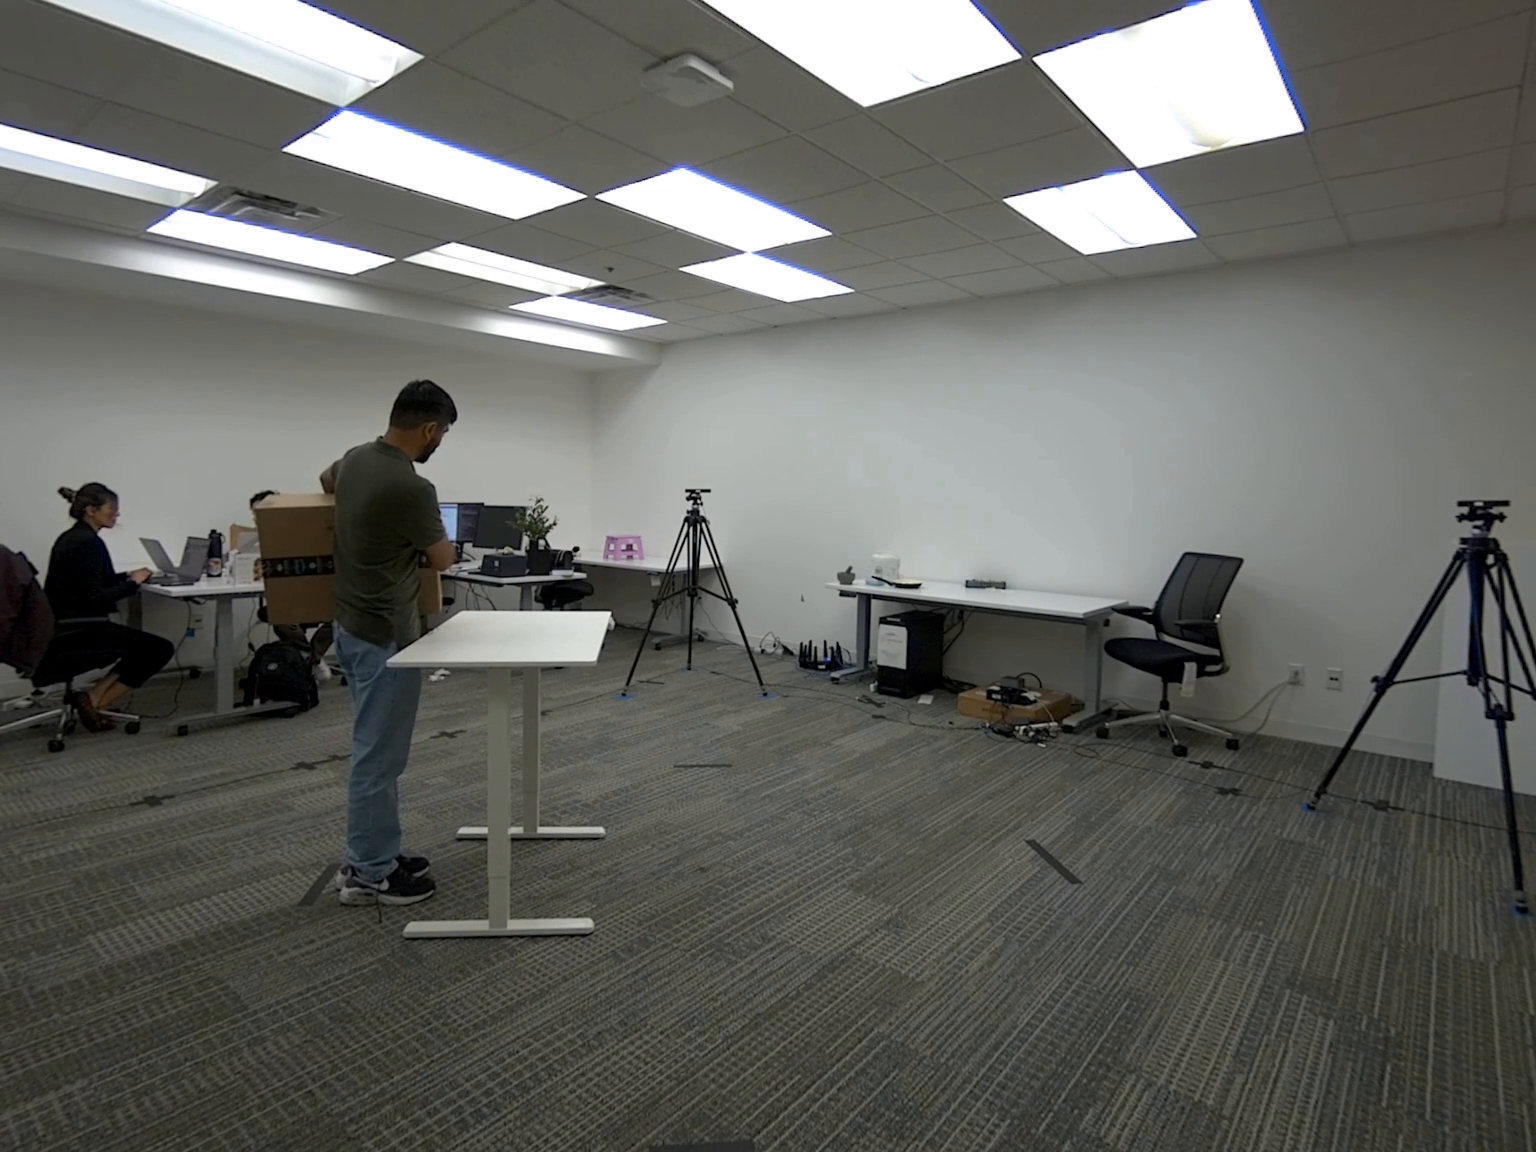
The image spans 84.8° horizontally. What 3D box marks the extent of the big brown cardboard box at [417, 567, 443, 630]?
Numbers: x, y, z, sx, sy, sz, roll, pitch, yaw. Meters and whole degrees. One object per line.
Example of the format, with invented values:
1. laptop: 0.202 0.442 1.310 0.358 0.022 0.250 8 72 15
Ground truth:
1. big brown cardboard box: -1.489 -0.074 3.033 0.580 0.412 0.240 -4 15 -16
